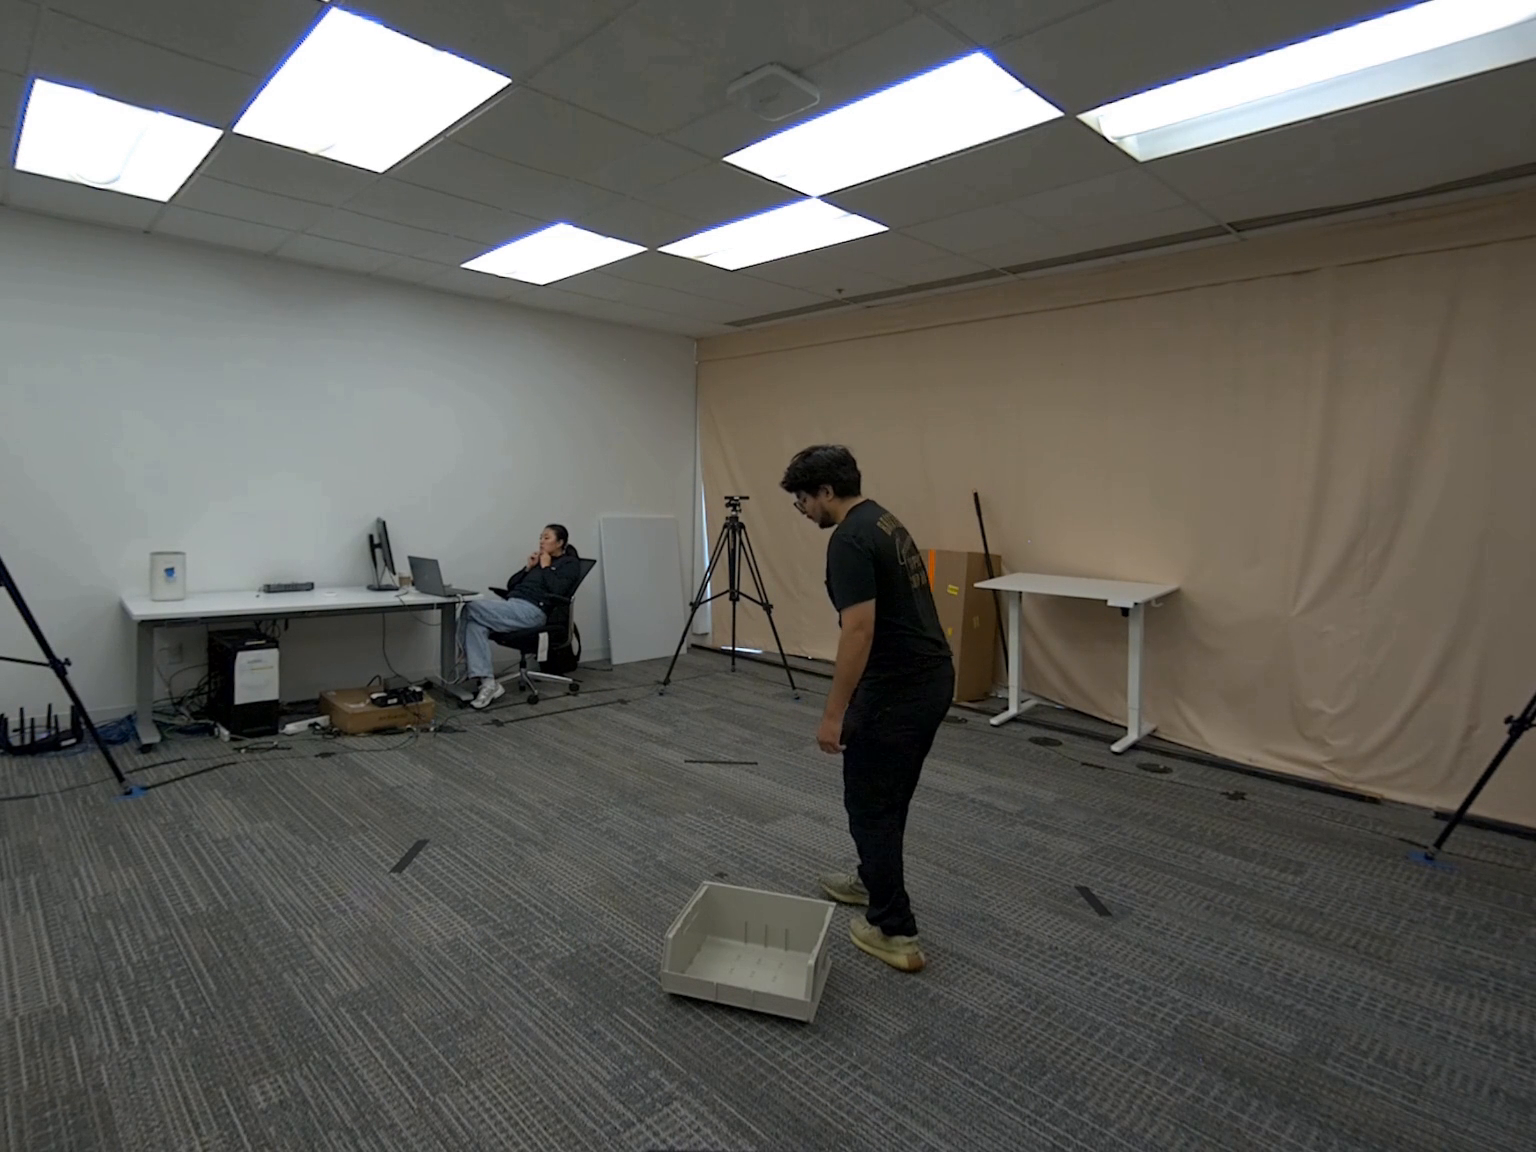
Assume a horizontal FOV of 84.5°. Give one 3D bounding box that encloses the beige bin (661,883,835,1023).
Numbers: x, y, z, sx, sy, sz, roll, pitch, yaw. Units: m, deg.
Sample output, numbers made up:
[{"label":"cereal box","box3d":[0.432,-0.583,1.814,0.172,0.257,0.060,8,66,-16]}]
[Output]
[{"label":"beige bin","box3d":[-0.047,1.084,2.415,0.428,0.188,0.373,2,4,15]}]
